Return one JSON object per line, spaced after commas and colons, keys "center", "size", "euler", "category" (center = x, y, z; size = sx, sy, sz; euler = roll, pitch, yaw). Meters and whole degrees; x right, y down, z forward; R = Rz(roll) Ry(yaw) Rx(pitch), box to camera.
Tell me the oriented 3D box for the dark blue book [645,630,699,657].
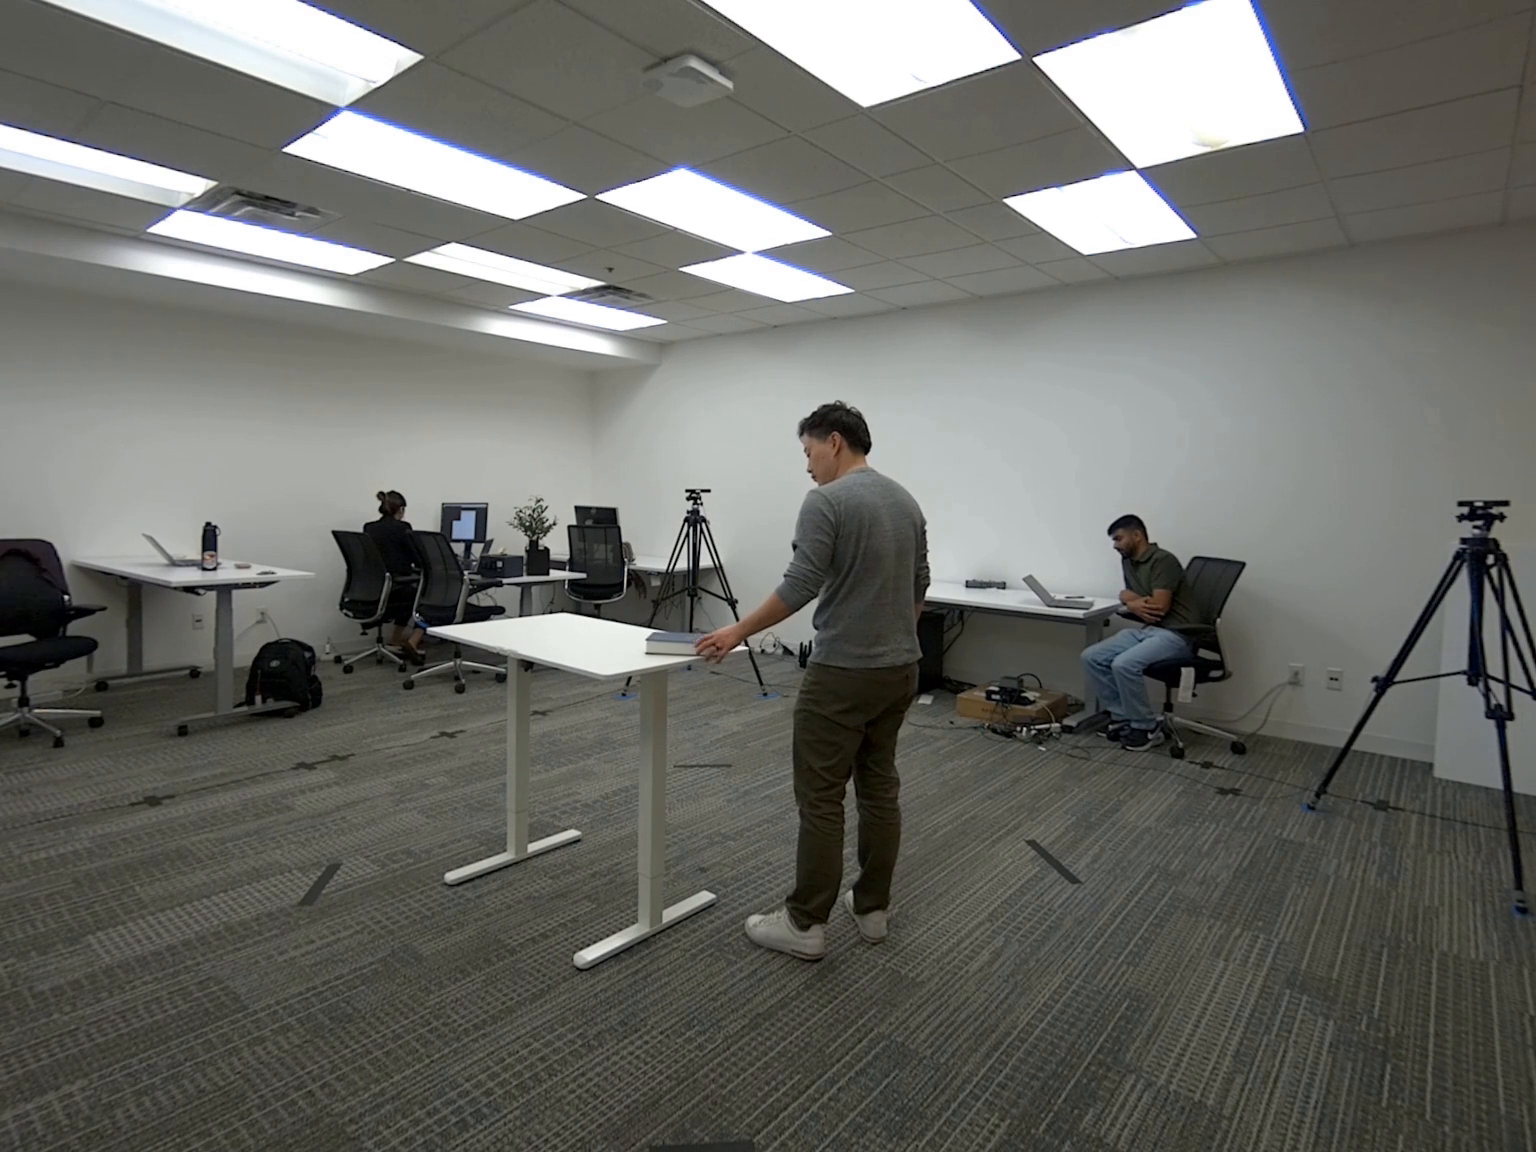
{"center": [-0.268, 0.211, 2.683], "size": [0.247, 0.045, 0.163], "euler": [3, 6, 6], "category": "dark blue book"}
